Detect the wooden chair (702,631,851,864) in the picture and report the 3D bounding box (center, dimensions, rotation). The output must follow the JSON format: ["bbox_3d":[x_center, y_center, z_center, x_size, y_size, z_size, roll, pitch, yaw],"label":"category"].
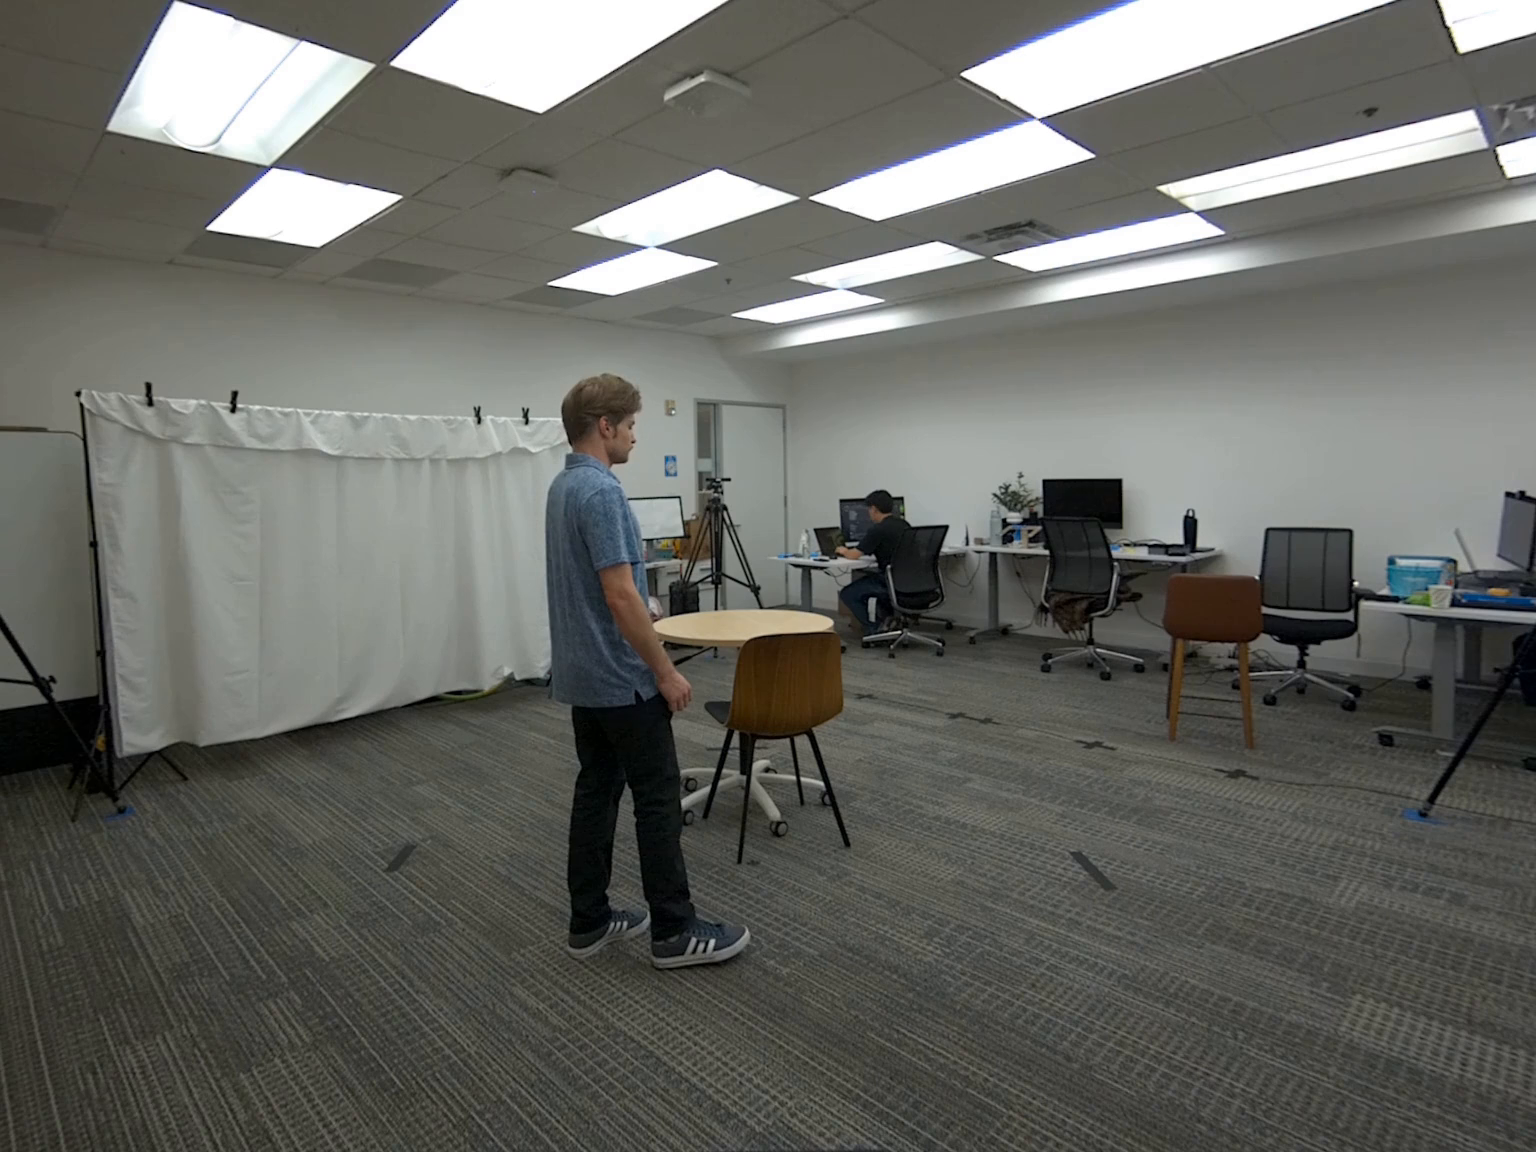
[{"bbox_3d":[0.016,0.586,3.342,0.470,0.871,0.536,-3,9,-20],"label":"wooden chair"}]
